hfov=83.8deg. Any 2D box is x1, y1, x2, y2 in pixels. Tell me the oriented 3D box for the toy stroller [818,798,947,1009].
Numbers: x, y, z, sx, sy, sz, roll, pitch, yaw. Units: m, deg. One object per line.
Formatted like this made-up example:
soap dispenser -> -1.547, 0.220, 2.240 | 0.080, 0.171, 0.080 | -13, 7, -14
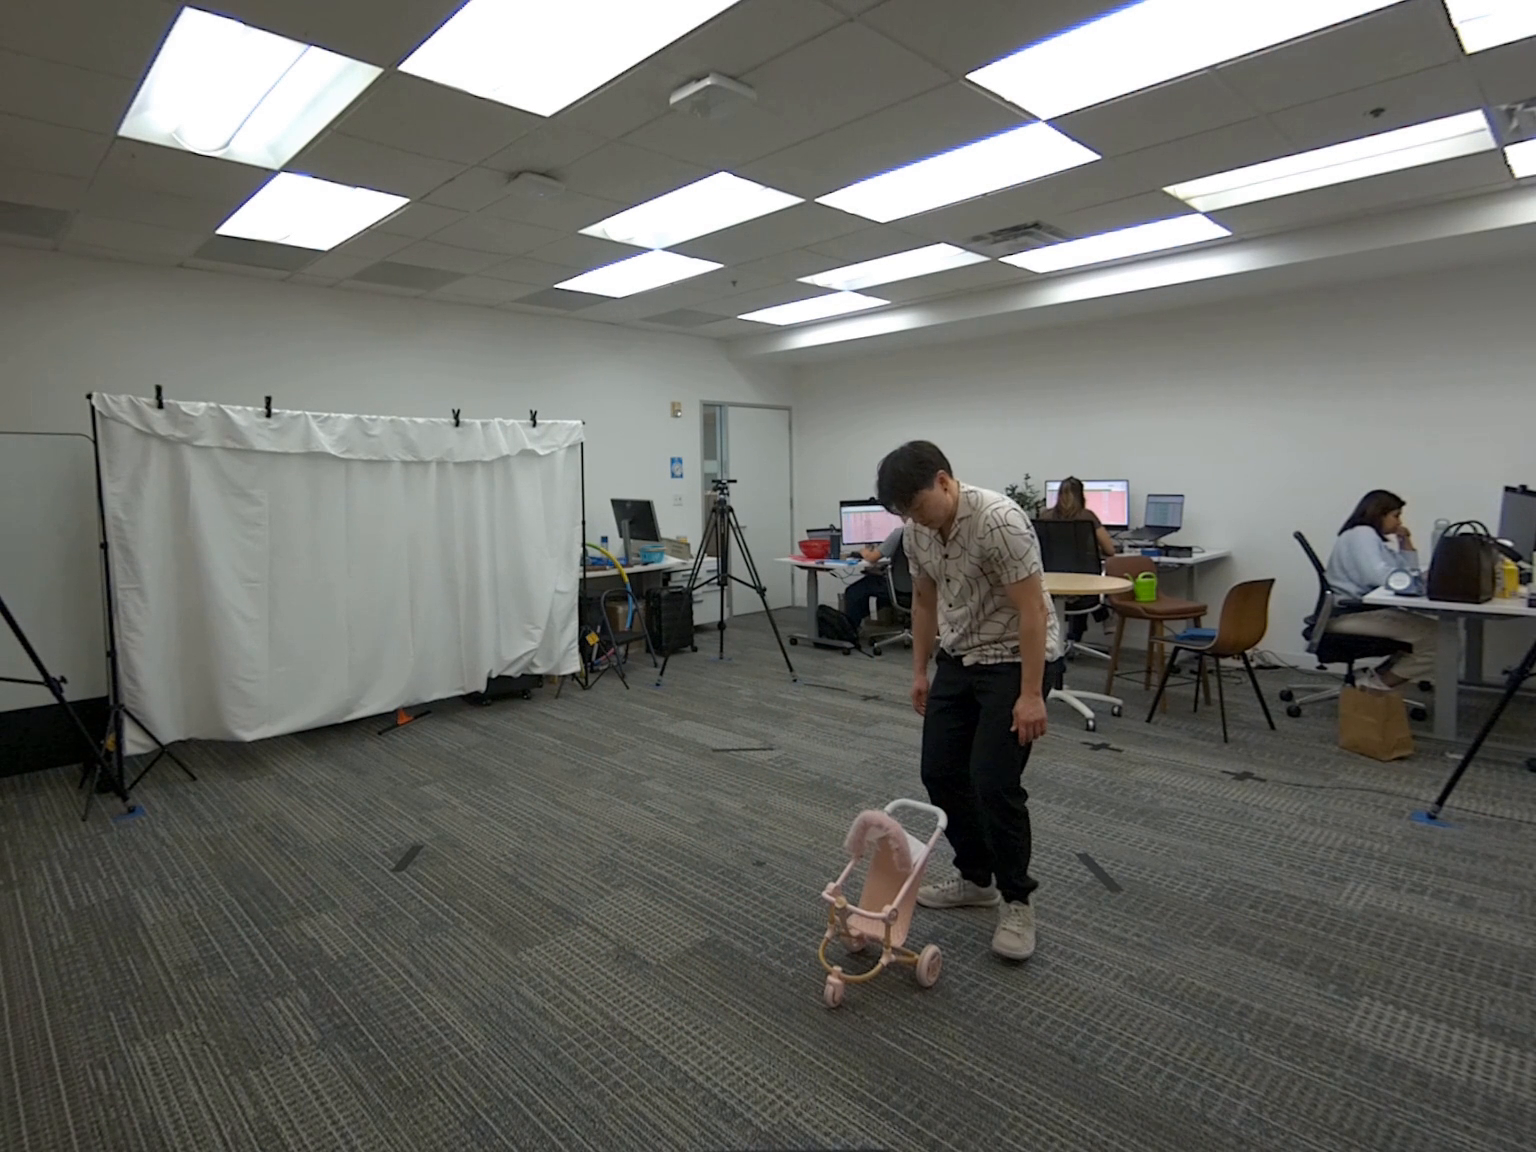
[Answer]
toy stroller -> 0.308, 0.899, 2.382 | 0.329, 0.538, 0.290 | 16, -9, -40
